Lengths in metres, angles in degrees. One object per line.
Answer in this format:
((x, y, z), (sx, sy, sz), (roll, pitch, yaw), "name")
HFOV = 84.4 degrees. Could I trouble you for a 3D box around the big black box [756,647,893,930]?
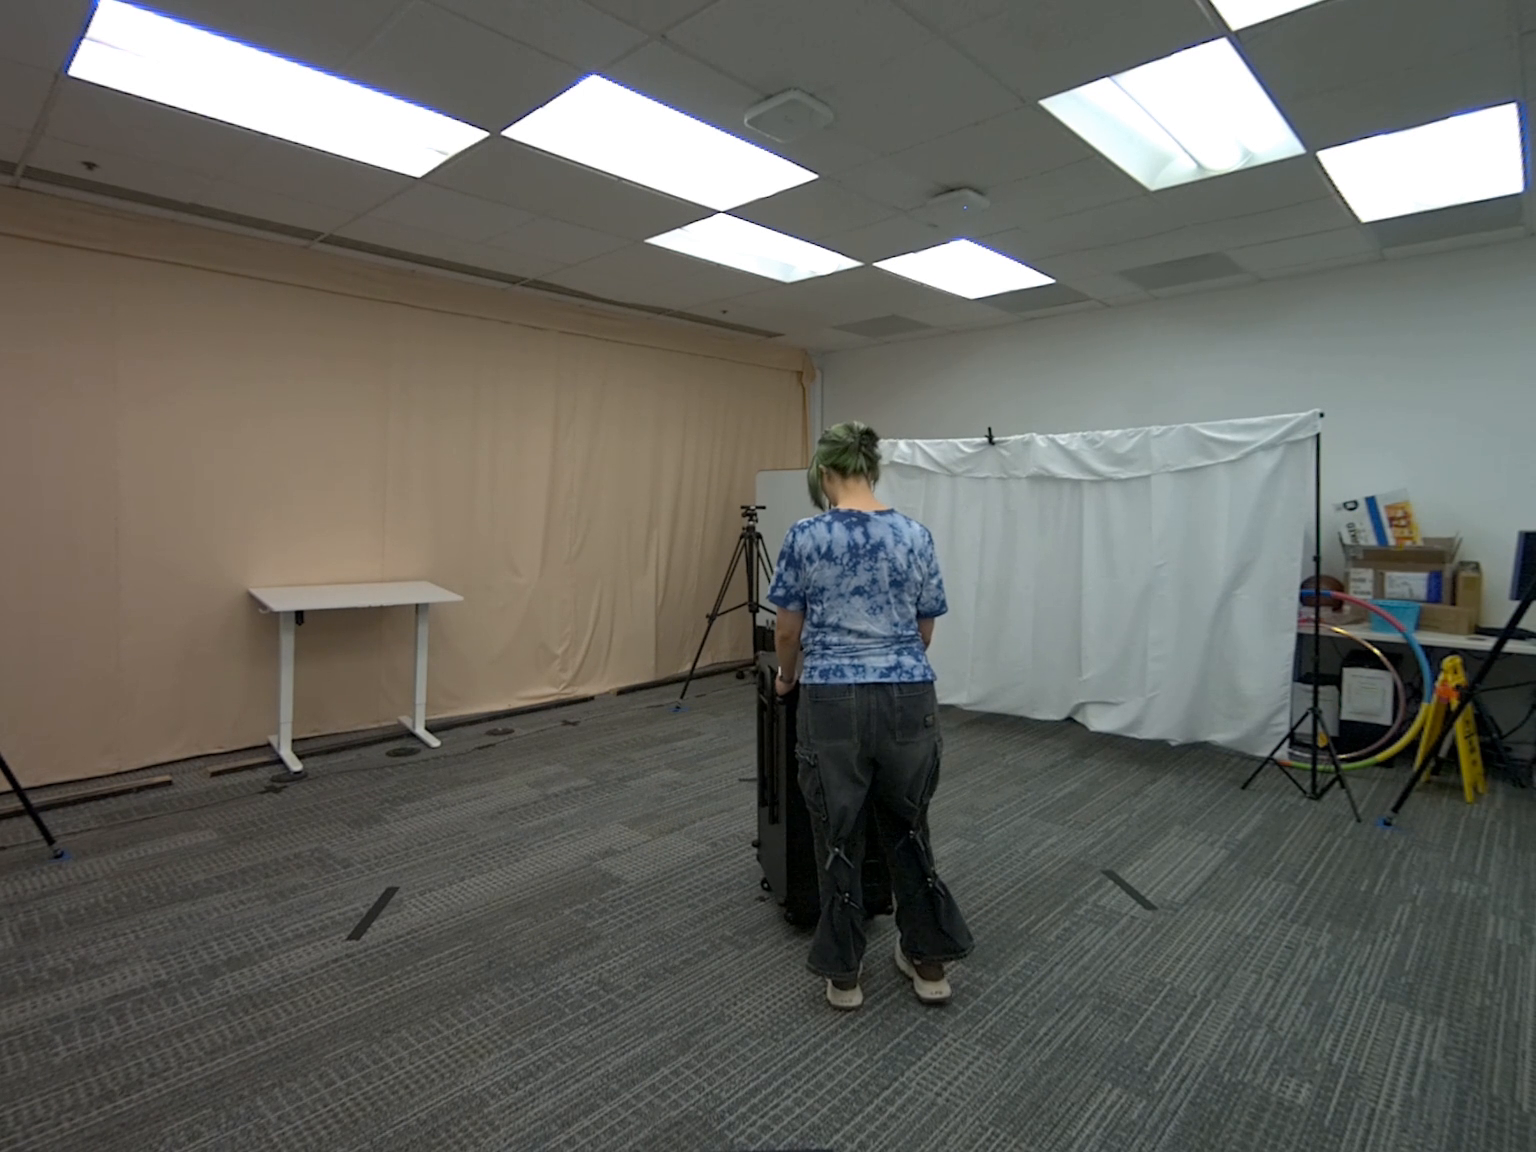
((0.171, 0.731, 2.905), (0.392, 0.859, 0.528), (-2, 5, -10), "big black box")
